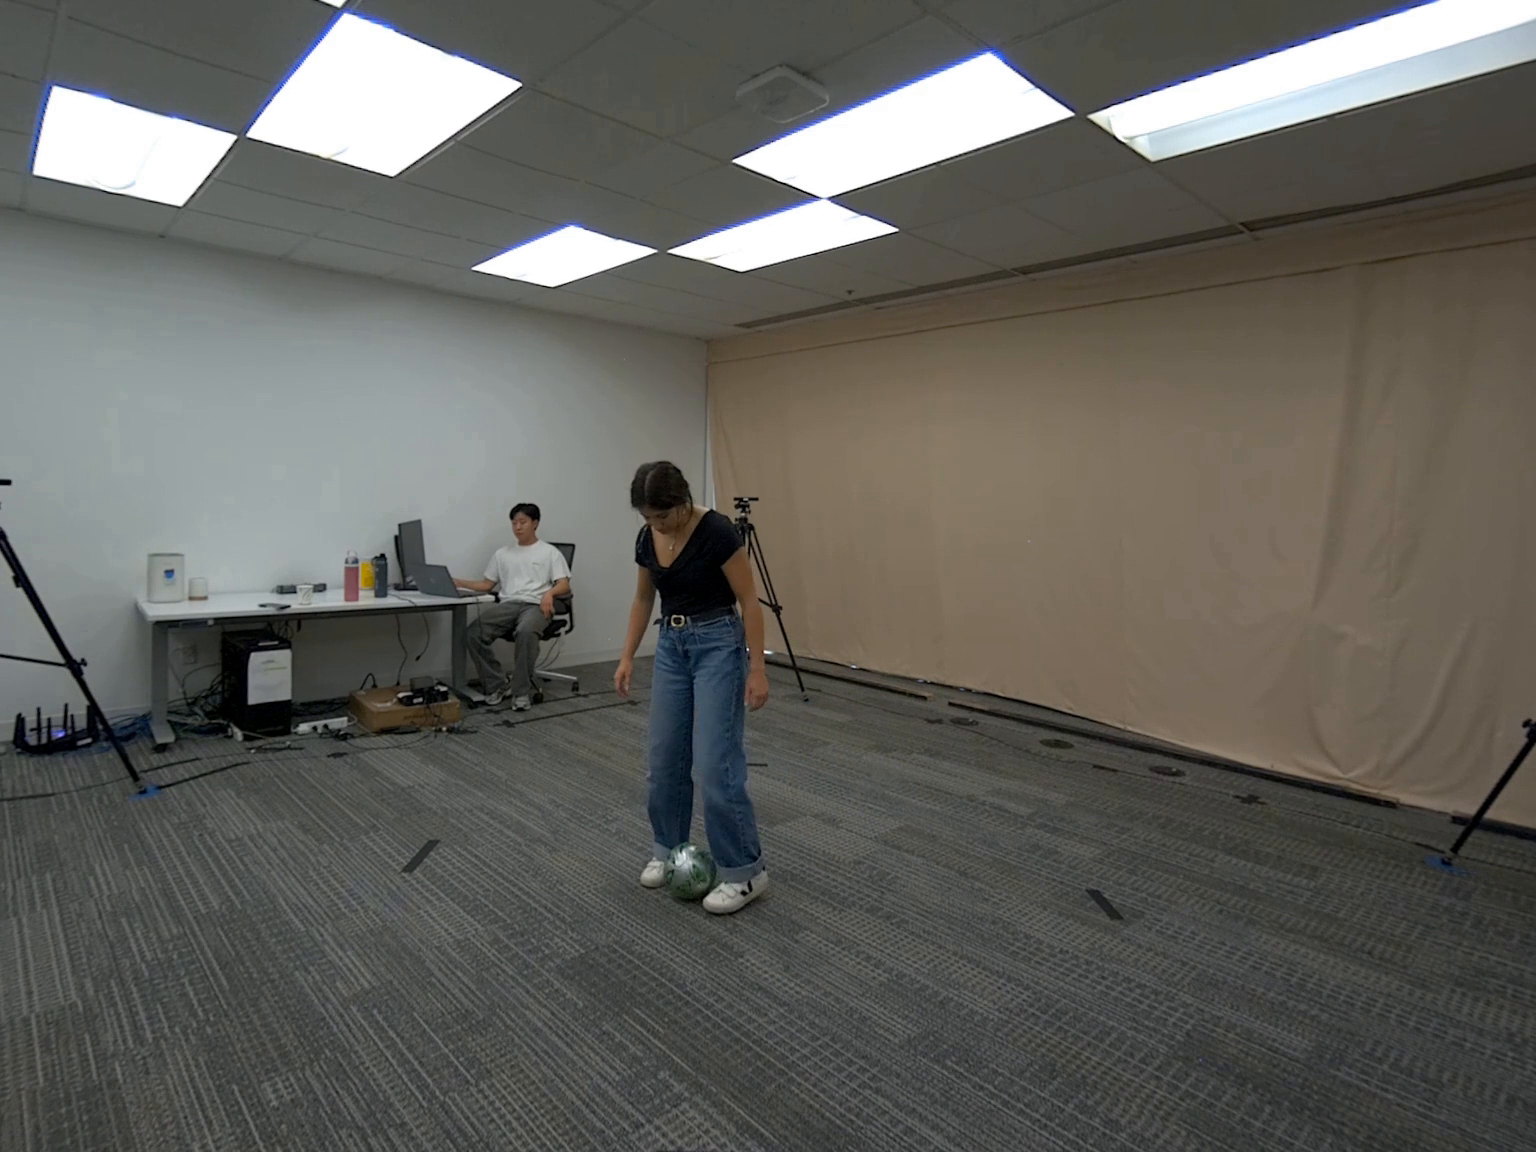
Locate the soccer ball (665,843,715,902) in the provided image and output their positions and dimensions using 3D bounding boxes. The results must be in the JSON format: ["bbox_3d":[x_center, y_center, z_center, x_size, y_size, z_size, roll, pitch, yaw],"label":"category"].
[{"bbox_3d":[-0.274,1.030,2.929,0.187,0.187,0.188,1,4,-1],"label":"soccer ball"}]
